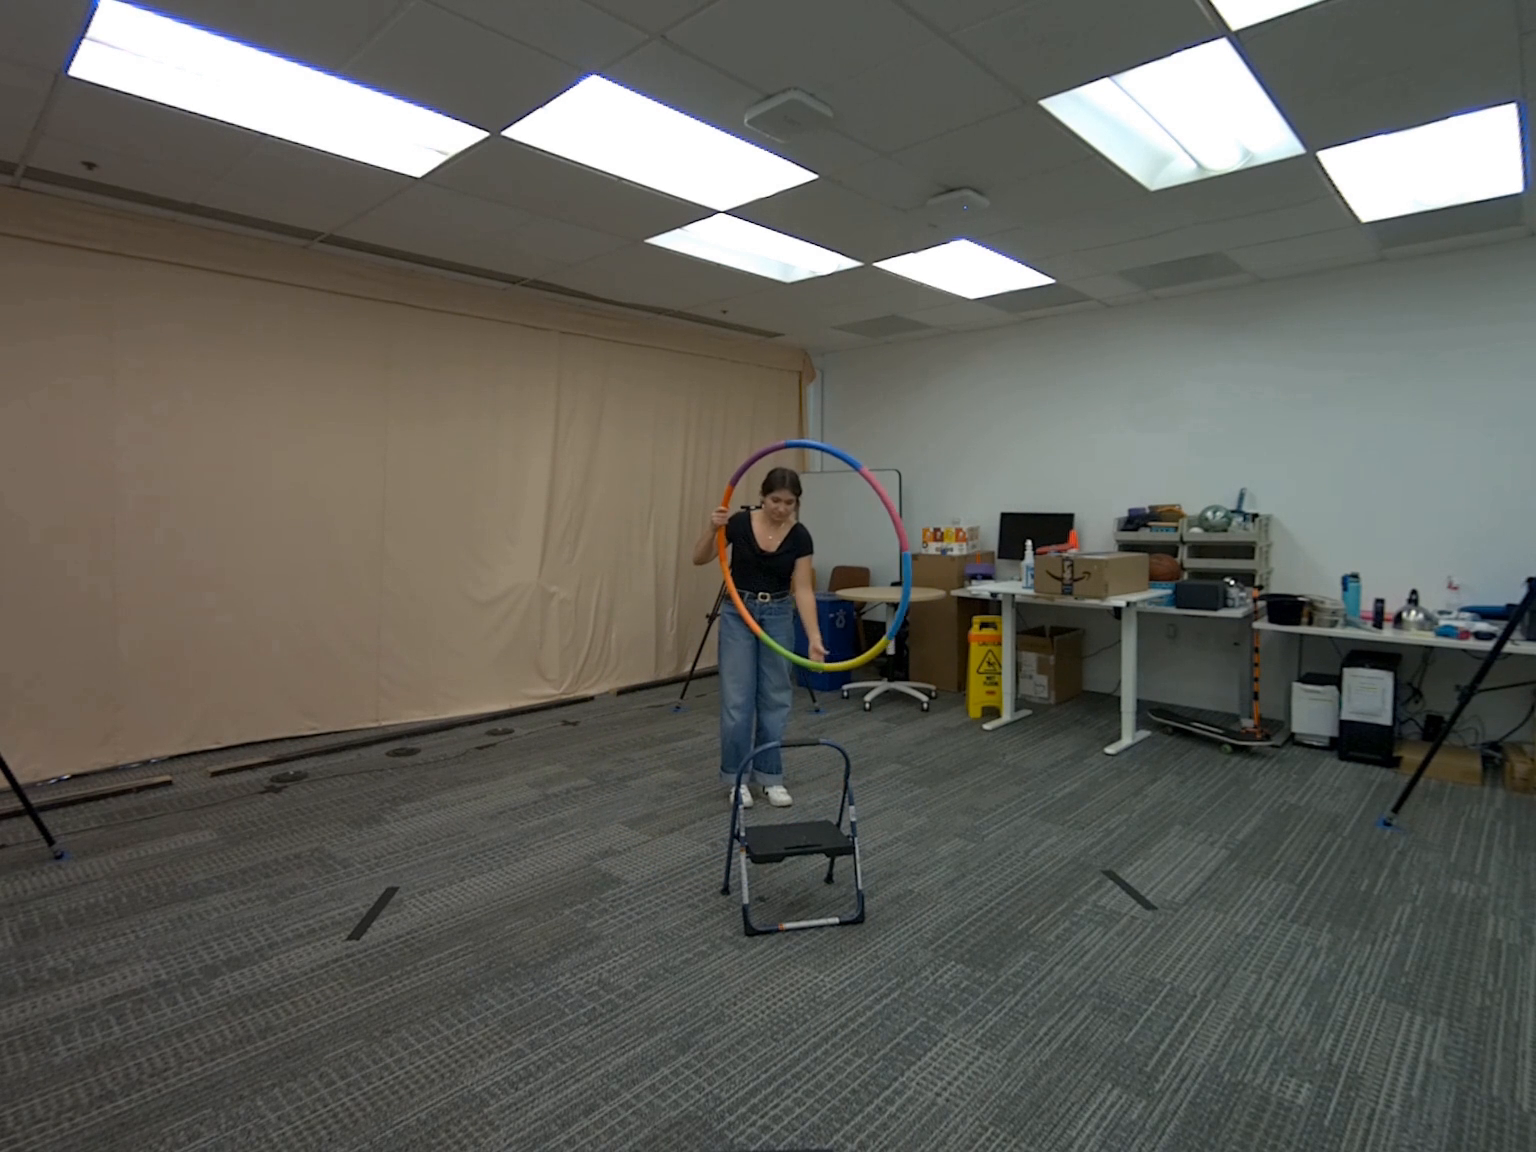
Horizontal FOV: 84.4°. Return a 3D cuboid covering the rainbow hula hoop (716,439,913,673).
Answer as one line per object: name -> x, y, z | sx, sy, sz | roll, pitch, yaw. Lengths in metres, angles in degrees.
rainbow hula hoop -> 0.160, -0.080, 3.535 | 1.011, 0.972, 0.034 | 3, 12, 40
